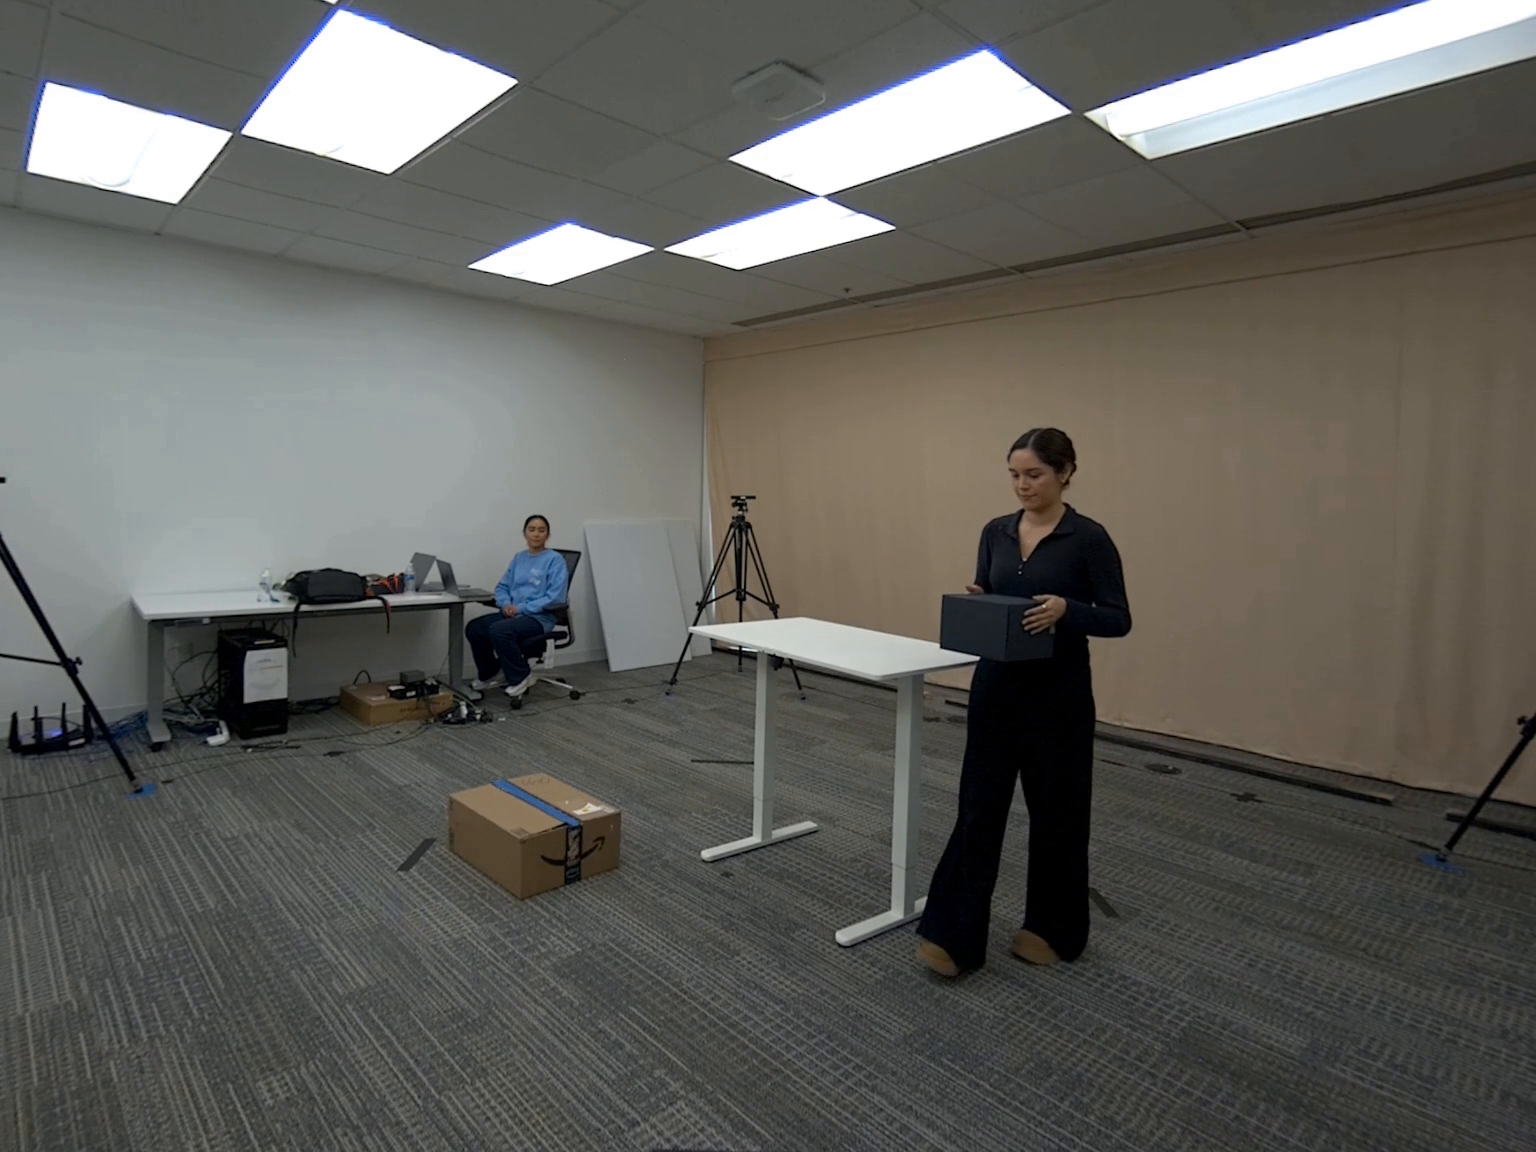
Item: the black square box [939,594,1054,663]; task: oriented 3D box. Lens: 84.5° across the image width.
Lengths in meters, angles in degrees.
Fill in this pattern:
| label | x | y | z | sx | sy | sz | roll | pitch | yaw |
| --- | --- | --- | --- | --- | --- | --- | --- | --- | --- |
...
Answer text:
| label | x | y | z | sx | sy | sz | roll | pitch | yaw |
| --- | --- | --- | --- | --- | --- | --- | --- | --- | --- |
| black square box | 0.644 | 0.139 | 2.367 | 0.212 | 0.156 | 0.233 | -1 | 4 | -39 |
